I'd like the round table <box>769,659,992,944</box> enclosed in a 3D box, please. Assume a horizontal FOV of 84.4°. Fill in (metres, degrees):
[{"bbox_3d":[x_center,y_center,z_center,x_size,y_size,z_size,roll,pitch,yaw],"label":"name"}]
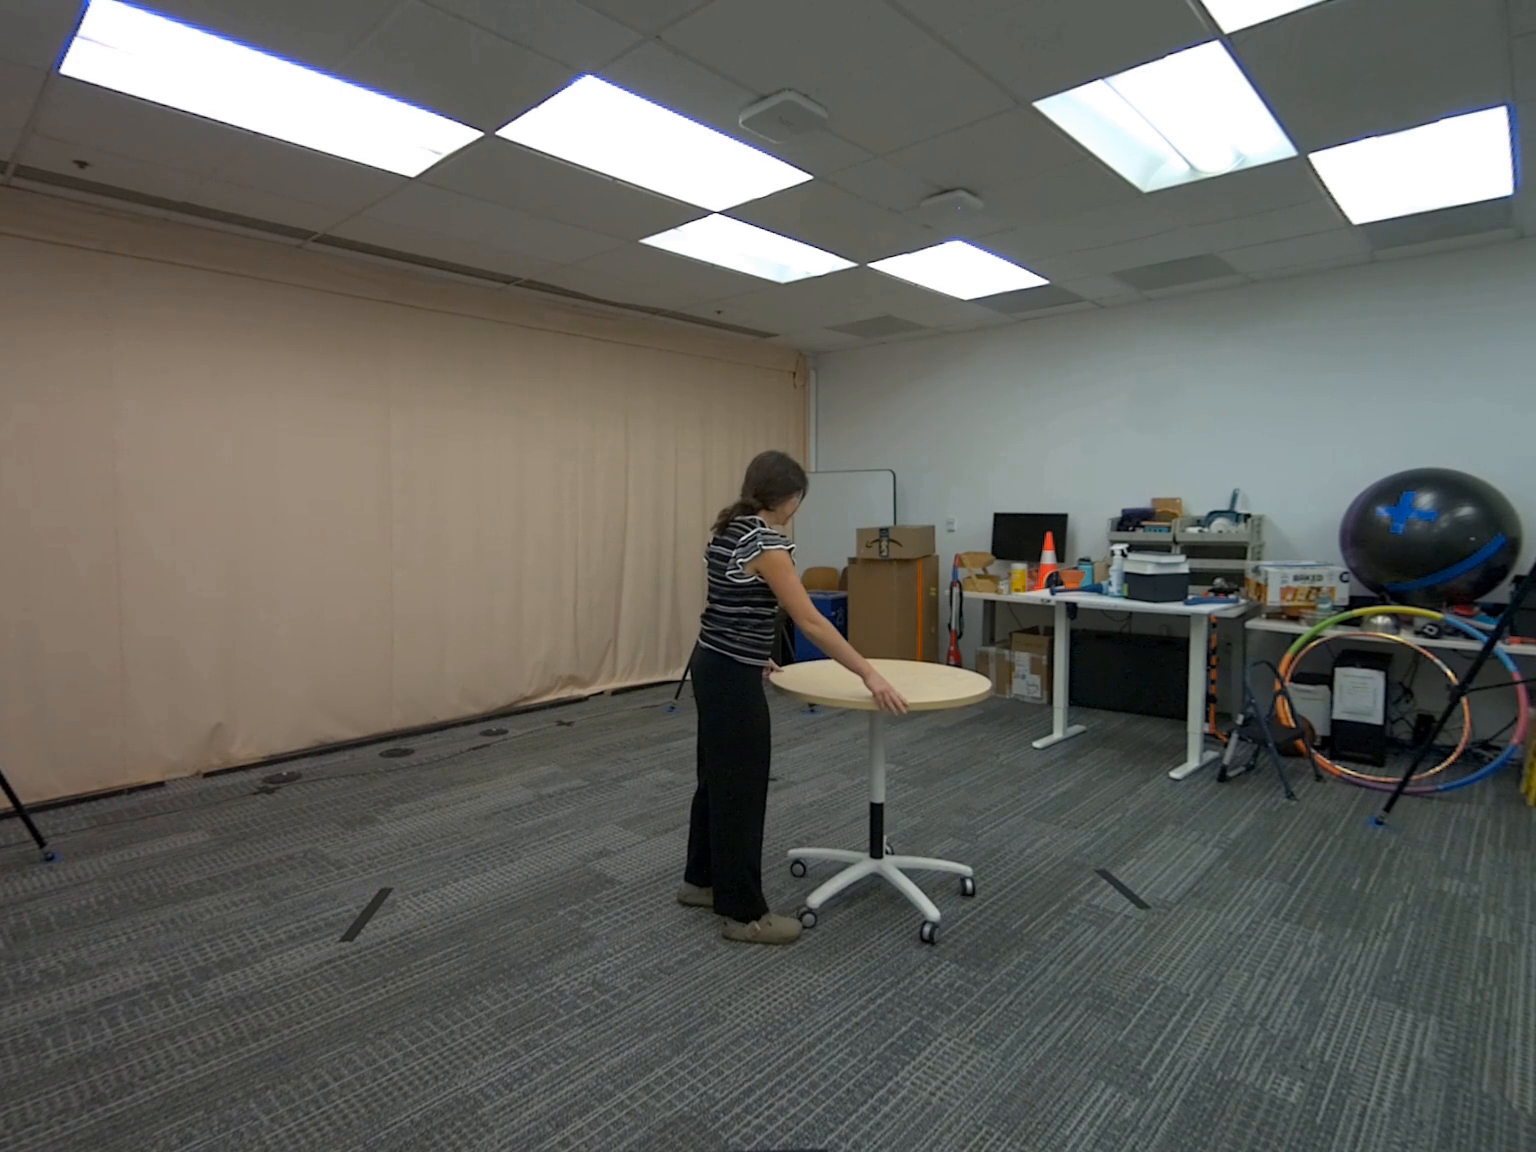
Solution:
[{"bbox_3d":[0.382,0.746,3.000,0.784,0.785,0.787,0,3,-2],"label":"round table"}]
